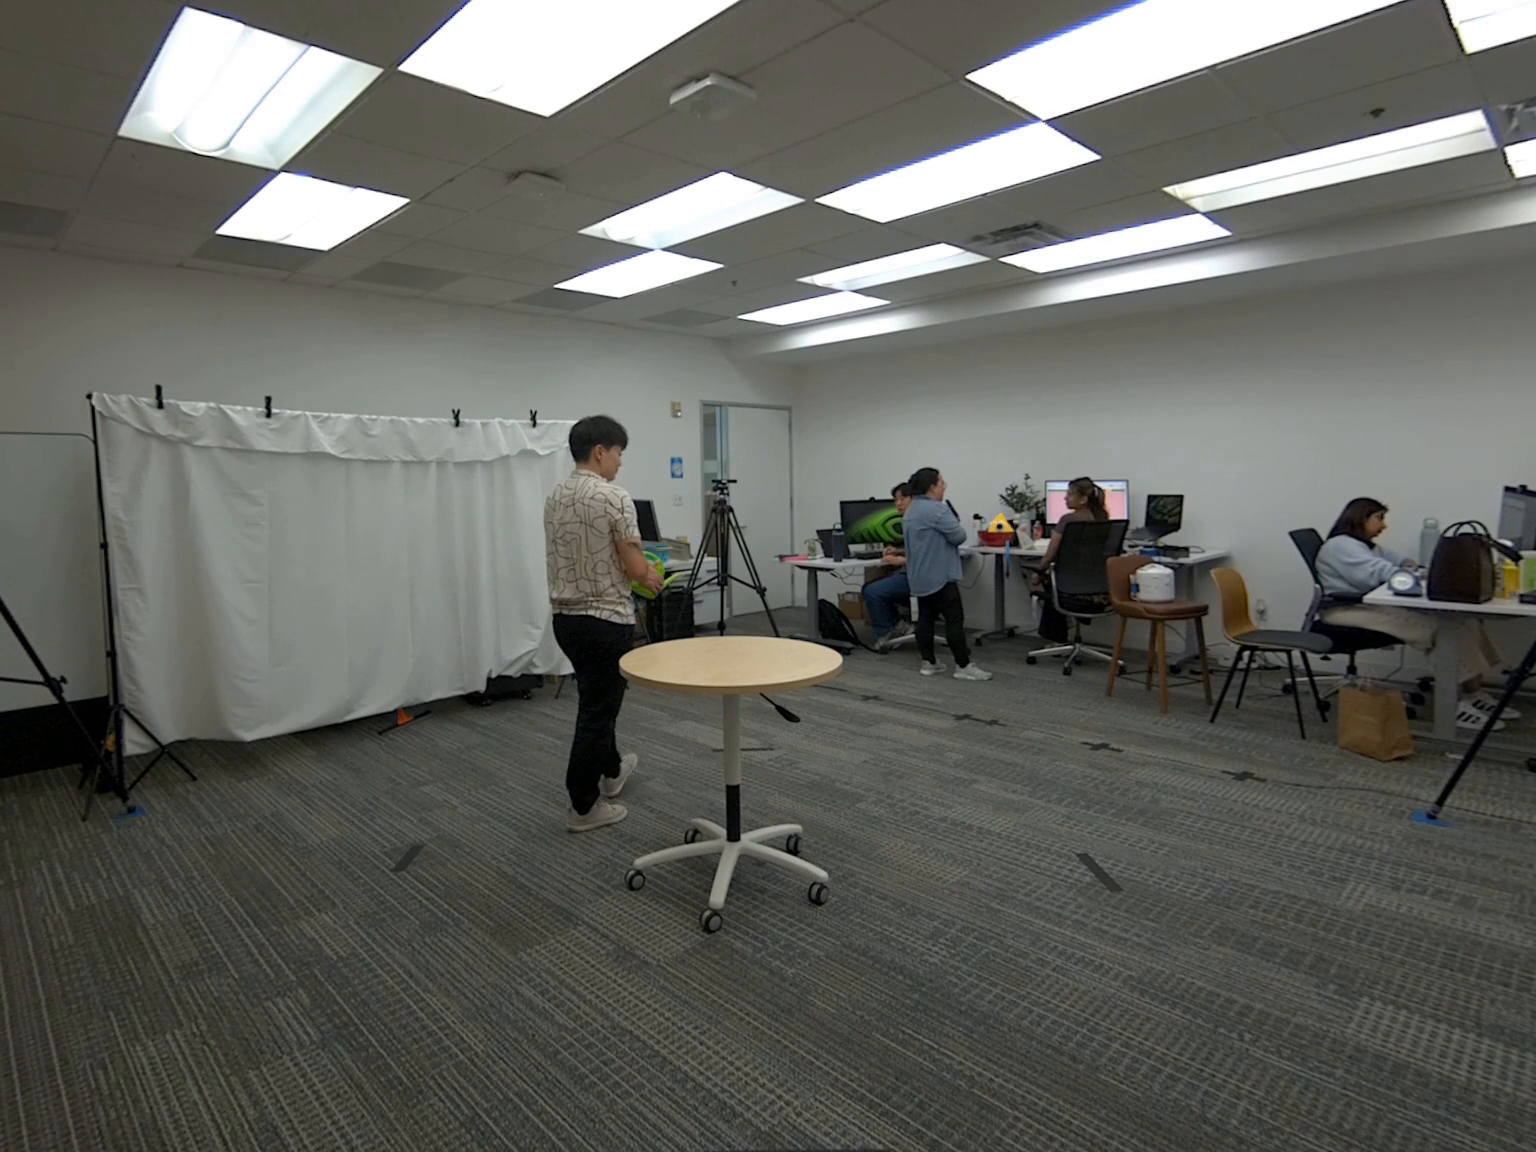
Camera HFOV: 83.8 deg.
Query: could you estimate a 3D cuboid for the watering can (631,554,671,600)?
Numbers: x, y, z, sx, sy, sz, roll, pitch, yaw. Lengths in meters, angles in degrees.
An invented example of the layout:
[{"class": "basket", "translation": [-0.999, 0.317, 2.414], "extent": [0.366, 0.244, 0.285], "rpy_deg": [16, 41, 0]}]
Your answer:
[{"class": "watering can", "translation": [-0.480, 0.013, 3.699], "extent": [0.270, 0.178, 0.100], "rpy_deg": [28, -21, -28]}]
